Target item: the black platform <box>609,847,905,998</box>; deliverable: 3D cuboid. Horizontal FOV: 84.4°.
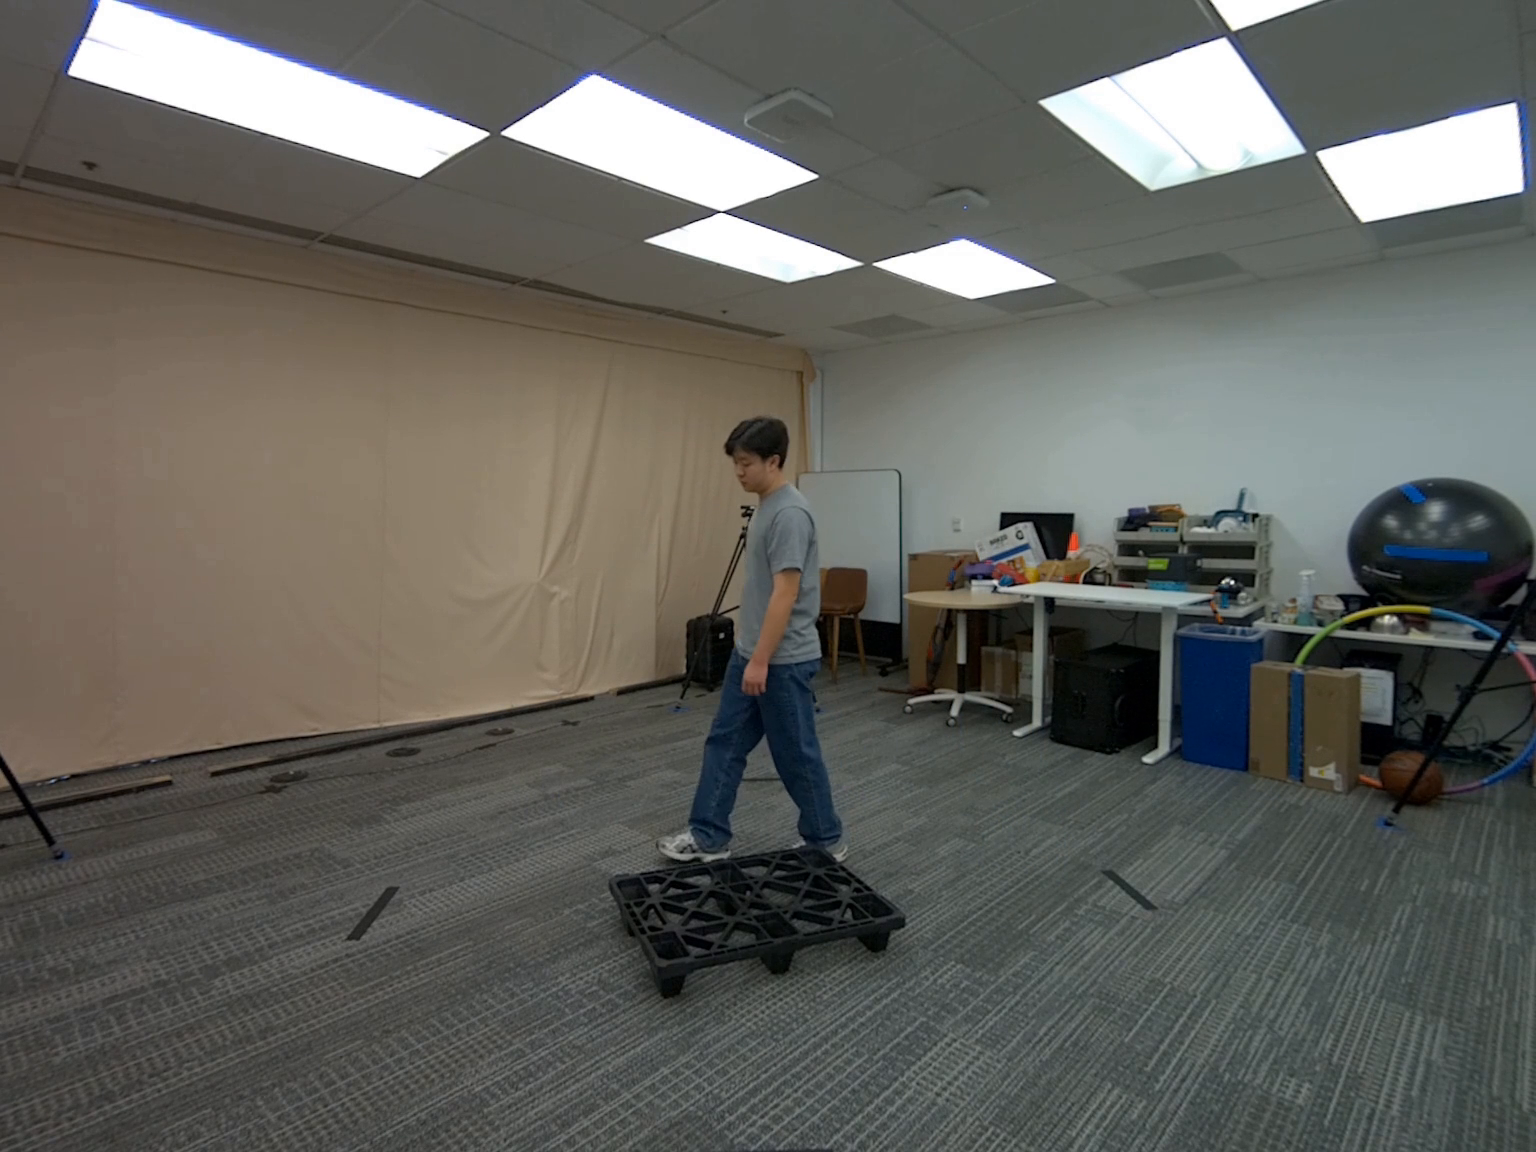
[{"bbox_3d":[-0.059,1.098,2.722,0.788,0.143,0.619,-2,5,-22],"label":"black platform"}]
